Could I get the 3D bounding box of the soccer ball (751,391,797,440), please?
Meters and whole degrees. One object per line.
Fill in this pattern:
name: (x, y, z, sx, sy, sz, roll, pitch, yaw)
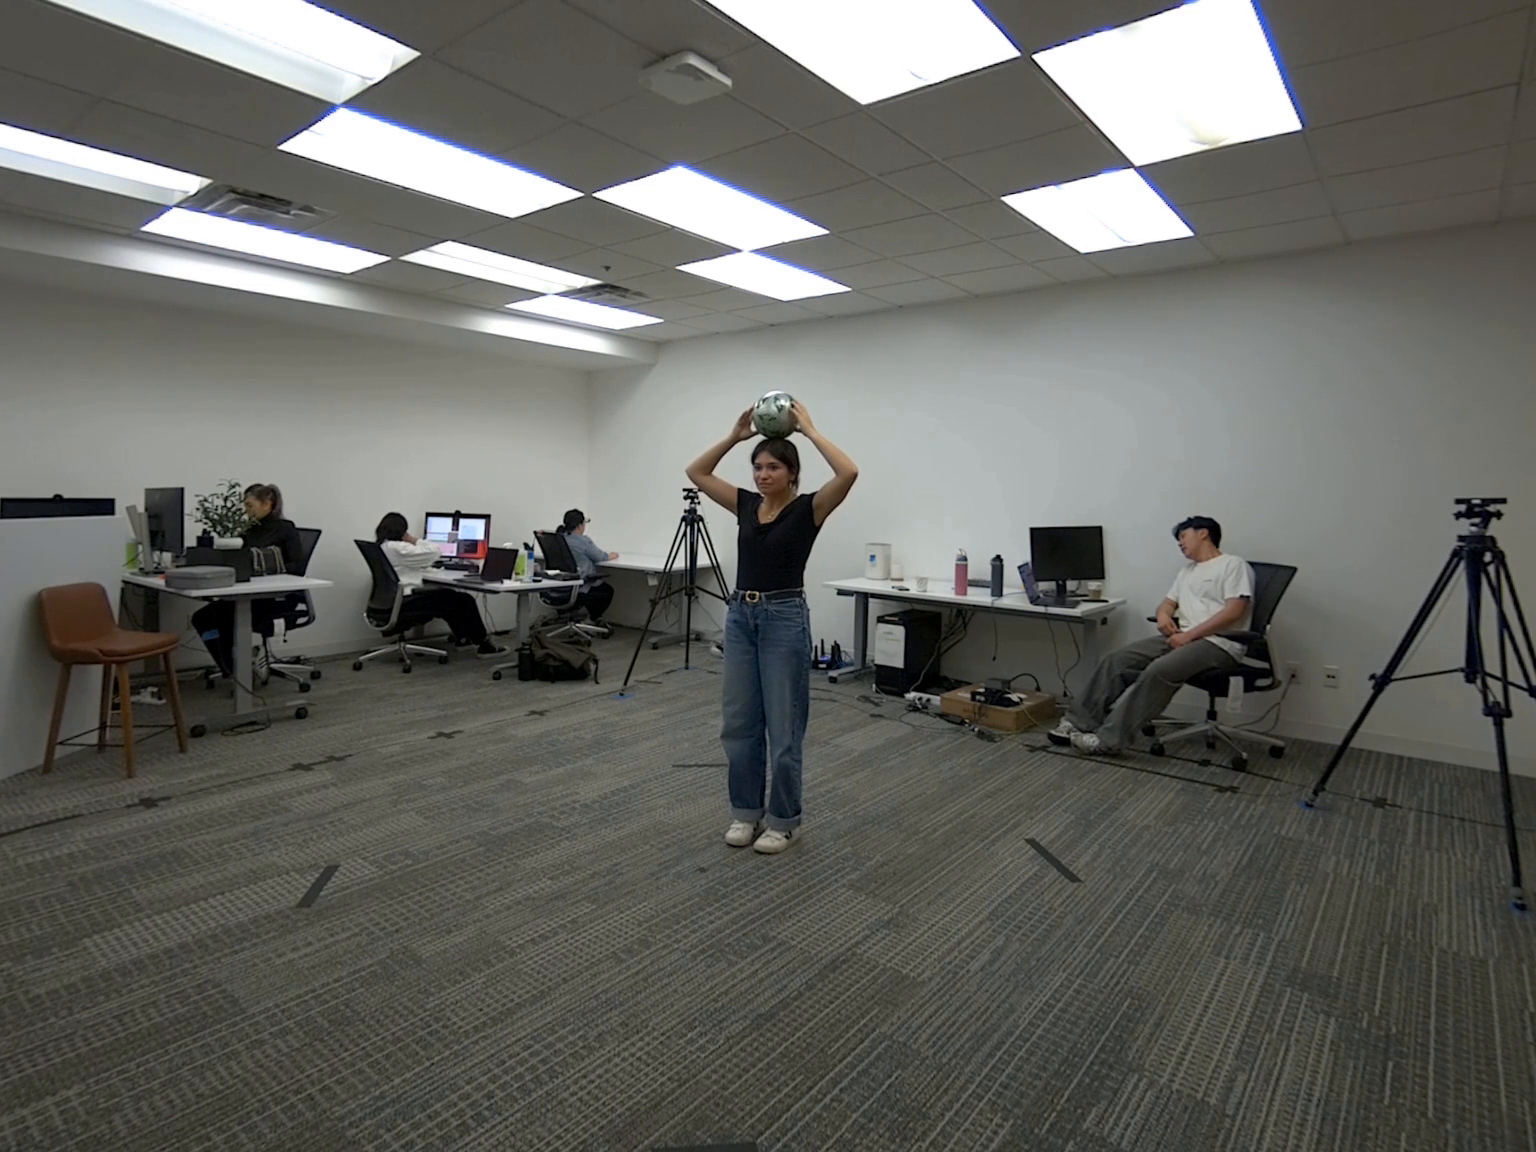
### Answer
soccer ball: (0.031, -0.632, 3.307, 0.187, 0.187, 0.188, 1, 4, -2)
